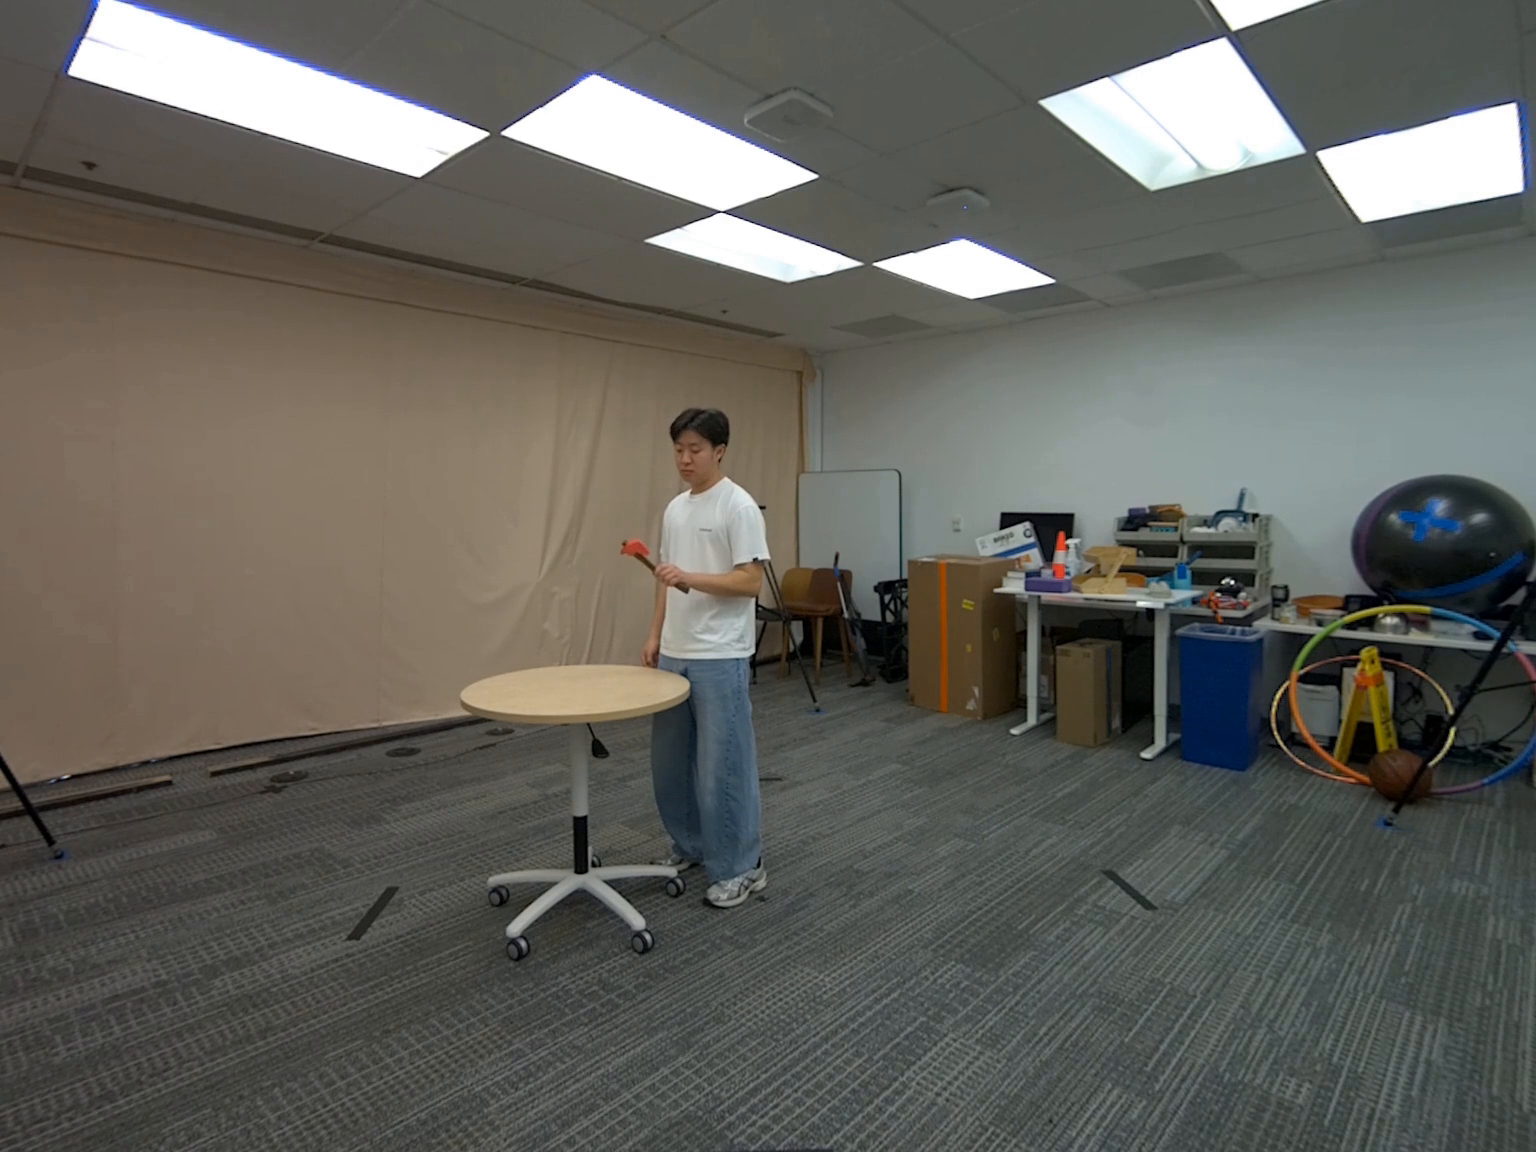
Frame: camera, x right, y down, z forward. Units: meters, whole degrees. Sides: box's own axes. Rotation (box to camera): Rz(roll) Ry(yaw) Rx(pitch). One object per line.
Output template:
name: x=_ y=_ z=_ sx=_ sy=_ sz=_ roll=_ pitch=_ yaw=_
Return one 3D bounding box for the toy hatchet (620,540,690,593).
toy hatchet: x=-0.364 y=-0.042 z=2.777 sx=0.270 sy=0.029 sz=0.131 roll=30 pitch=-35 yaw=0
